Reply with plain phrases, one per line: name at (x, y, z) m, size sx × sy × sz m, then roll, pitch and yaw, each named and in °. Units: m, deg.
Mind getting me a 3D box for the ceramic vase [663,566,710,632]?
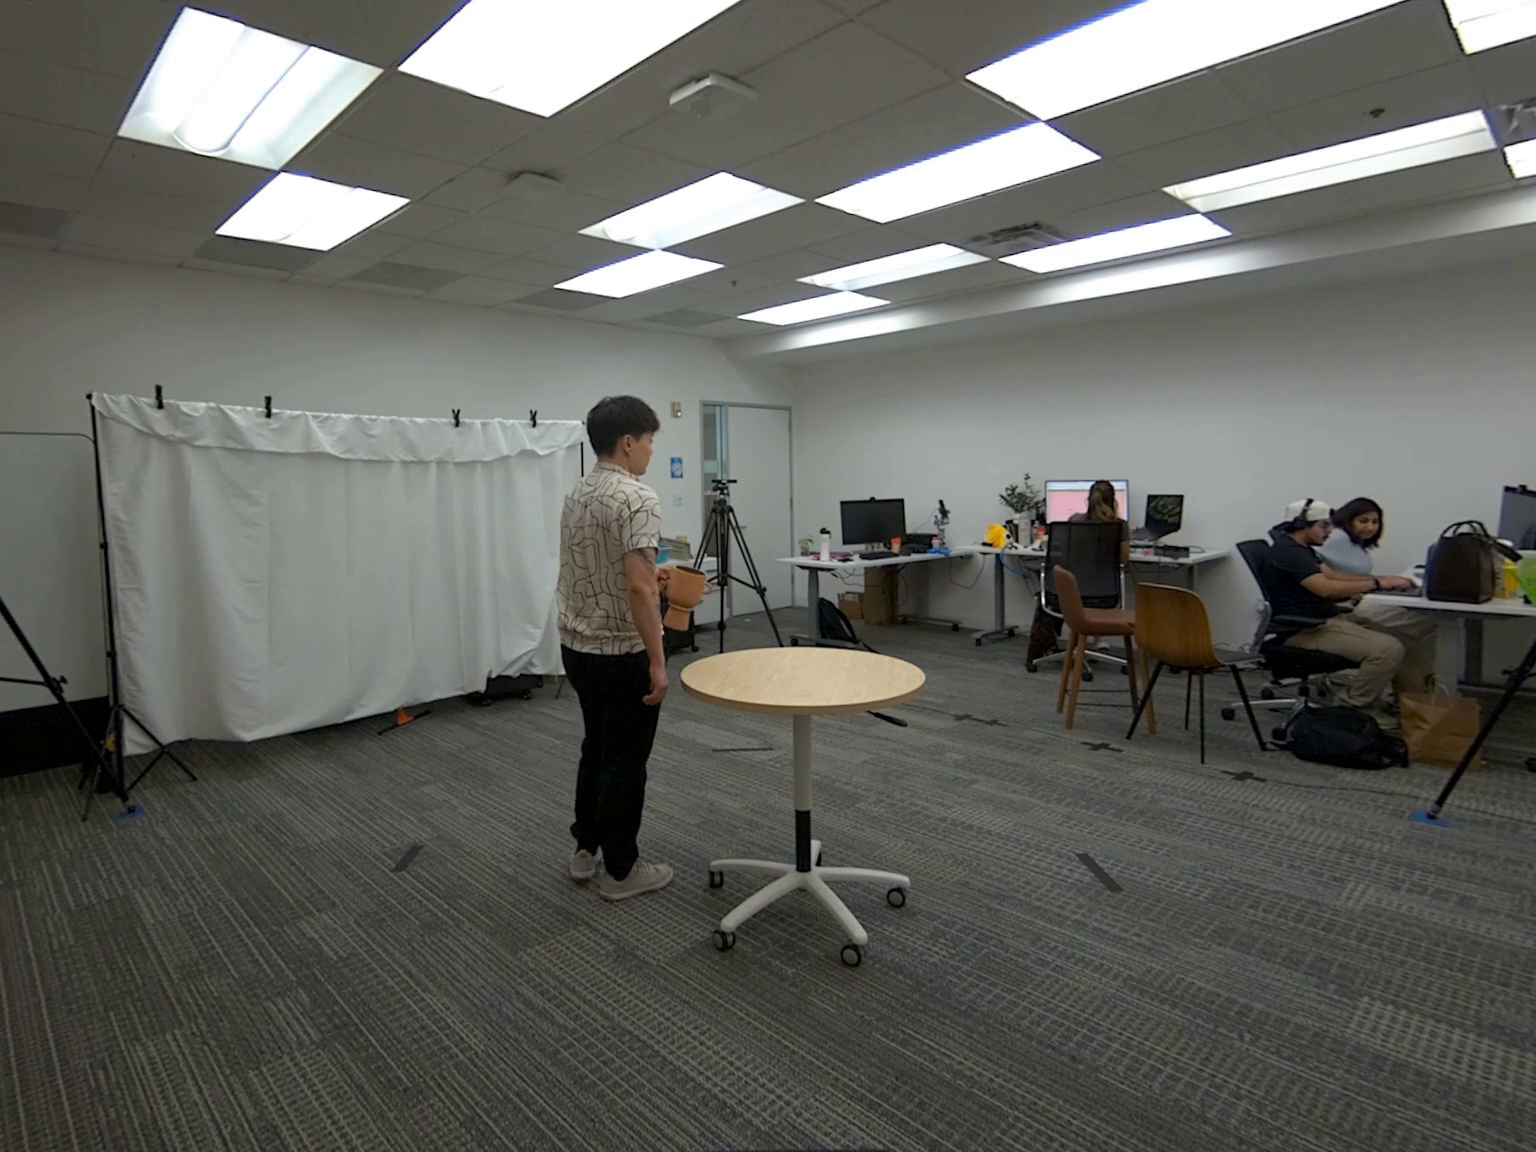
ceramic vase at (-0.314, 0.084, 3.175) m, size 0.164 × 0.219 × 0.130 m, roll 20°, pitch 10°, yaw 39°
